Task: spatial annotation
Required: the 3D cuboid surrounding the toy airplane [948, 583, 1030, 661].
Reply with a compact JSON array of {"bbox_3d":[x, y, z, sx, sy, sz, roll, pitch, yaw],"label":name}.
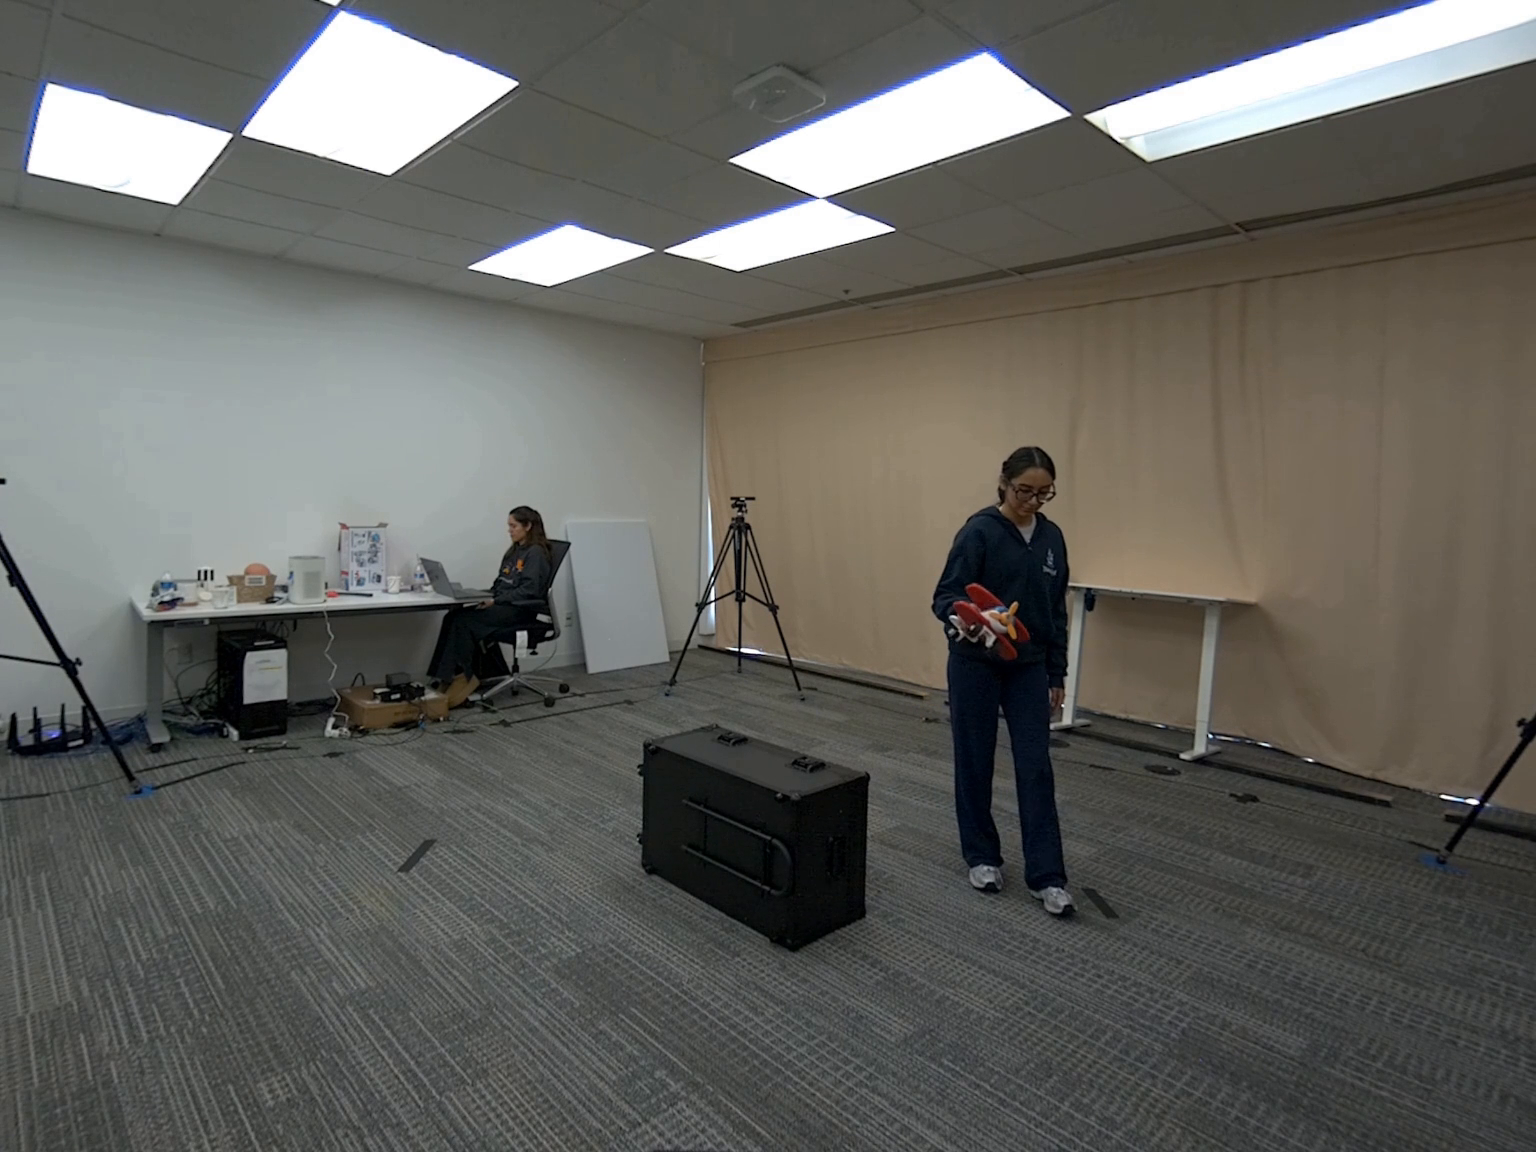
[{"bbox_3d":[0.674,0.149,2.713,0.244,0.156,0.267,50,-10,-34],"label":"toy airplane"}]
